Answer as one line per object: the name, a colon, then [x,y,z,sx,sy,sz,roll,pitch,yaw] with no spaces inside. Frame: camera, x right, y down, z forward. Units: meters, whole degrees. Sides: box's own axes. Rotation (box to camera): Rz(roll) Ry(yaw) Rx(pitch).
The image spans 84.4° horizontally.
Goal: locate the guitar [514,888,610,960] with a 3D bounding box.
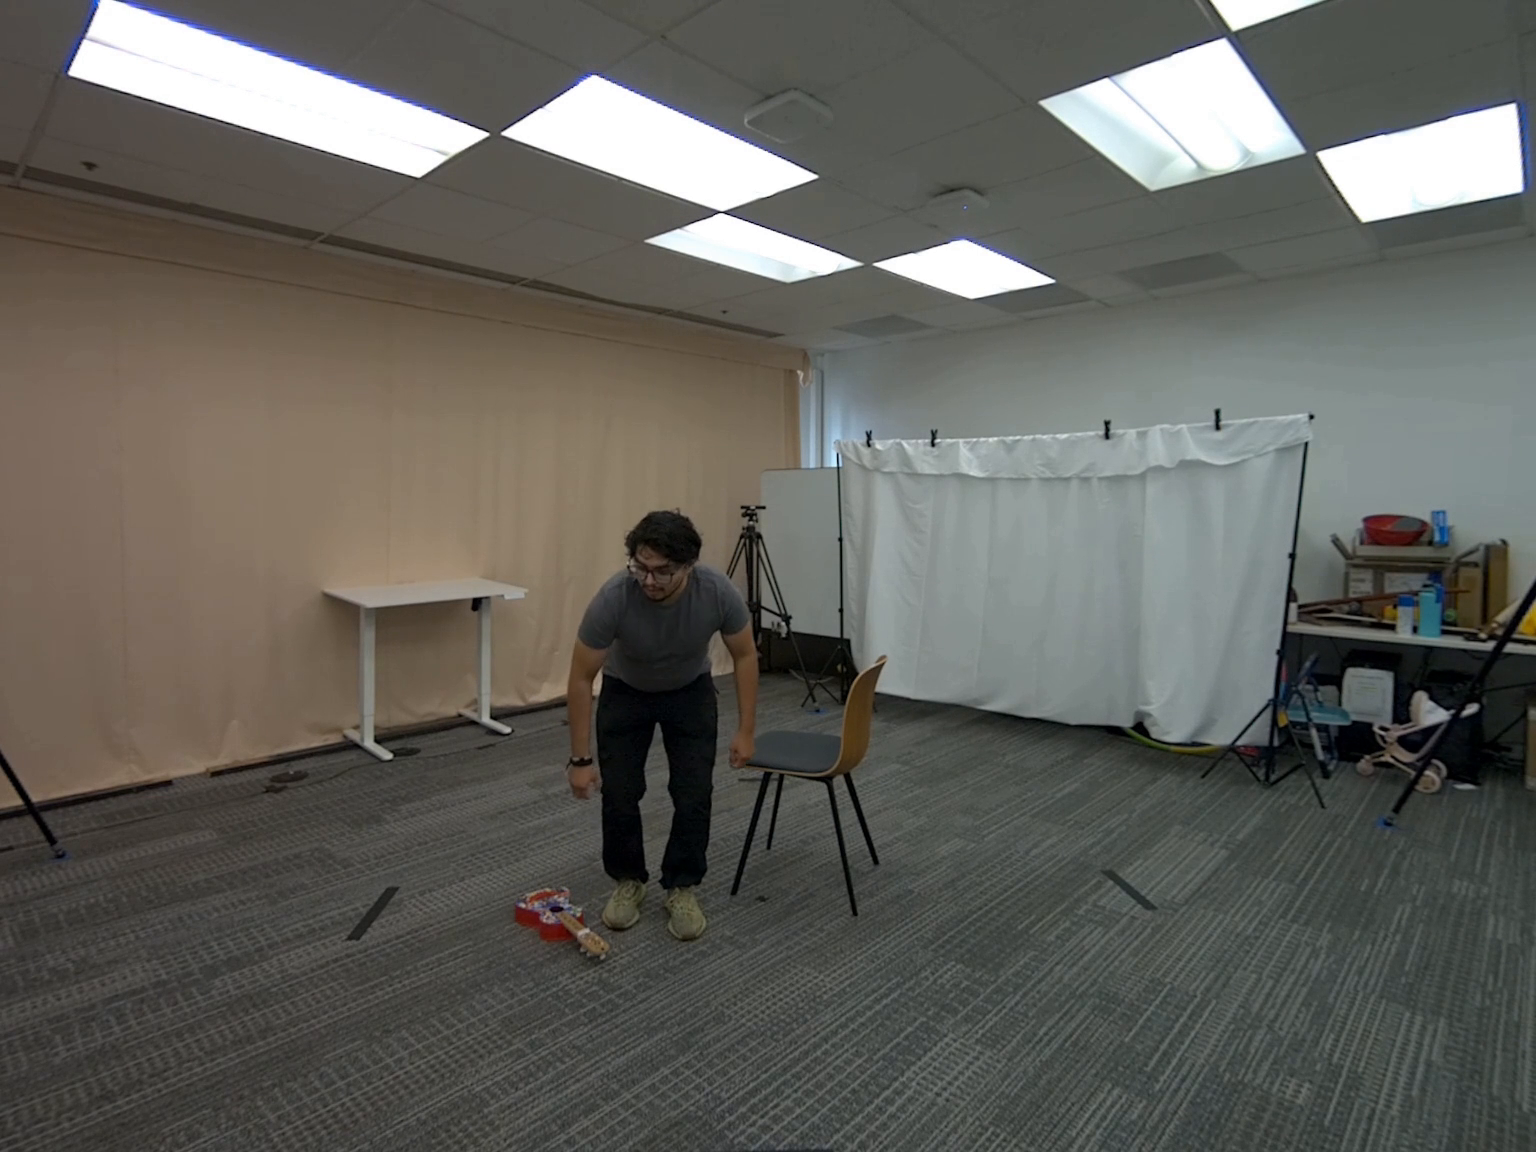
guitar: [-0.677,1.141,2.716,0.188,0.070,0.512,-2,5,-29]
